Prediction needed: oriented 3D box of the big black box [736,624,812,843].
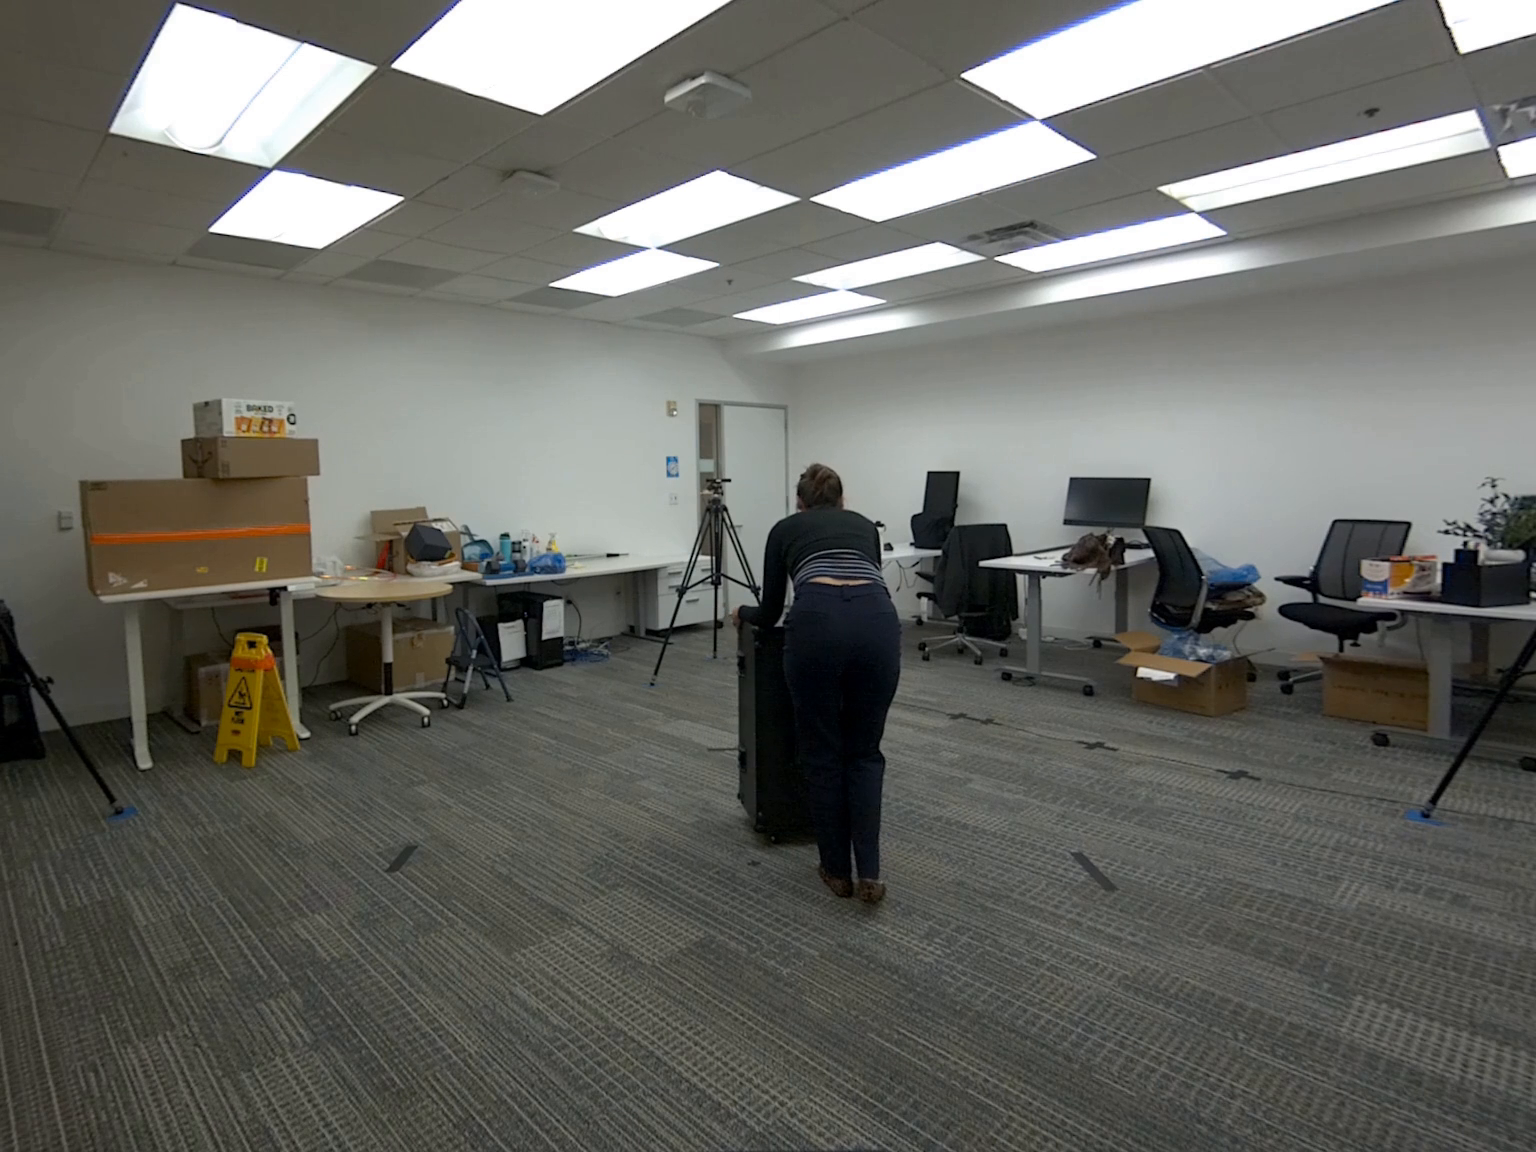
[{"bbox_3d":[0.153,0.586,3.377,0.516,0.857,0.402,-1,5,-11],"label":"big black box"}]
